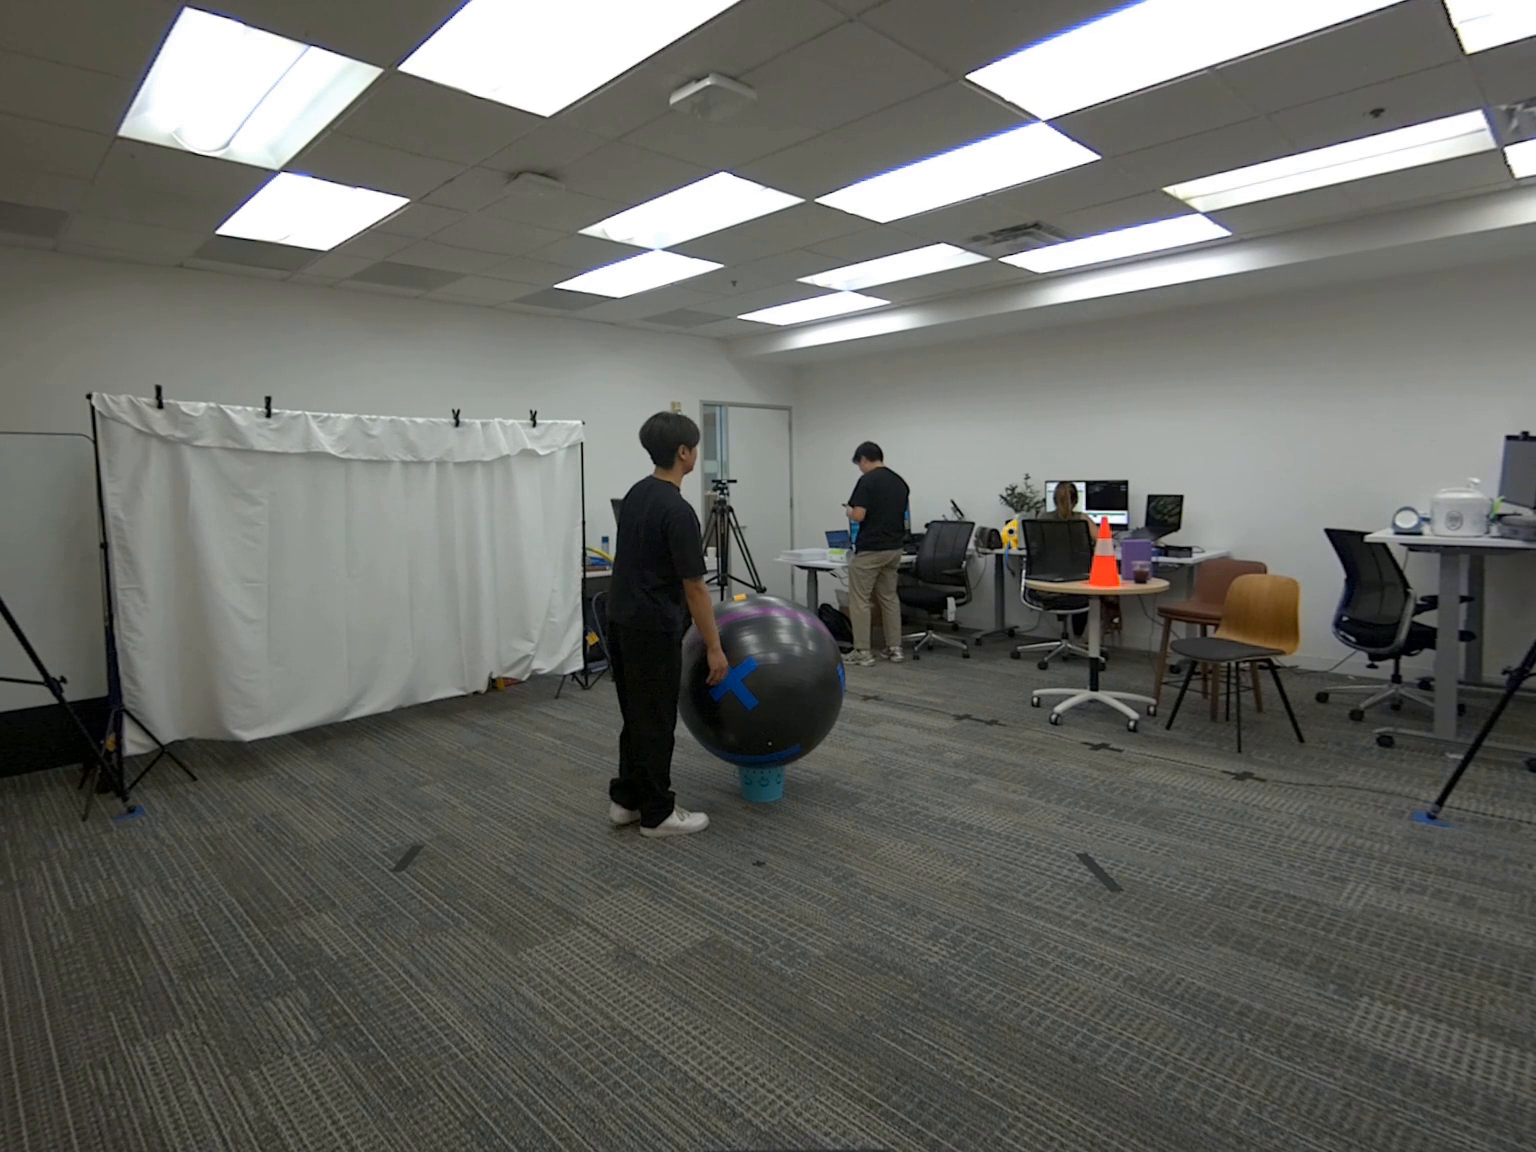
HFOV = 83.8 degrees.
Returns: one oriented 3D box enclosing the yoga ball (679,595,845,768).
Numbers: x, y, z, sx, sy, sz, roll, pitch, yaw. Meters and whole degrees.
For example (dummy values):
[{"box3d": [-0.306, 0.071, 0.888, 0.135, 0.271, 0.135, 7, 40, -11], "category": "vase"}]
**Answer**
[{"box3d": [-0.038, 0.463, 3.781, 0.757, 0.755, 0.762, -1, 5, -2], "category": "yoga ball"}]
